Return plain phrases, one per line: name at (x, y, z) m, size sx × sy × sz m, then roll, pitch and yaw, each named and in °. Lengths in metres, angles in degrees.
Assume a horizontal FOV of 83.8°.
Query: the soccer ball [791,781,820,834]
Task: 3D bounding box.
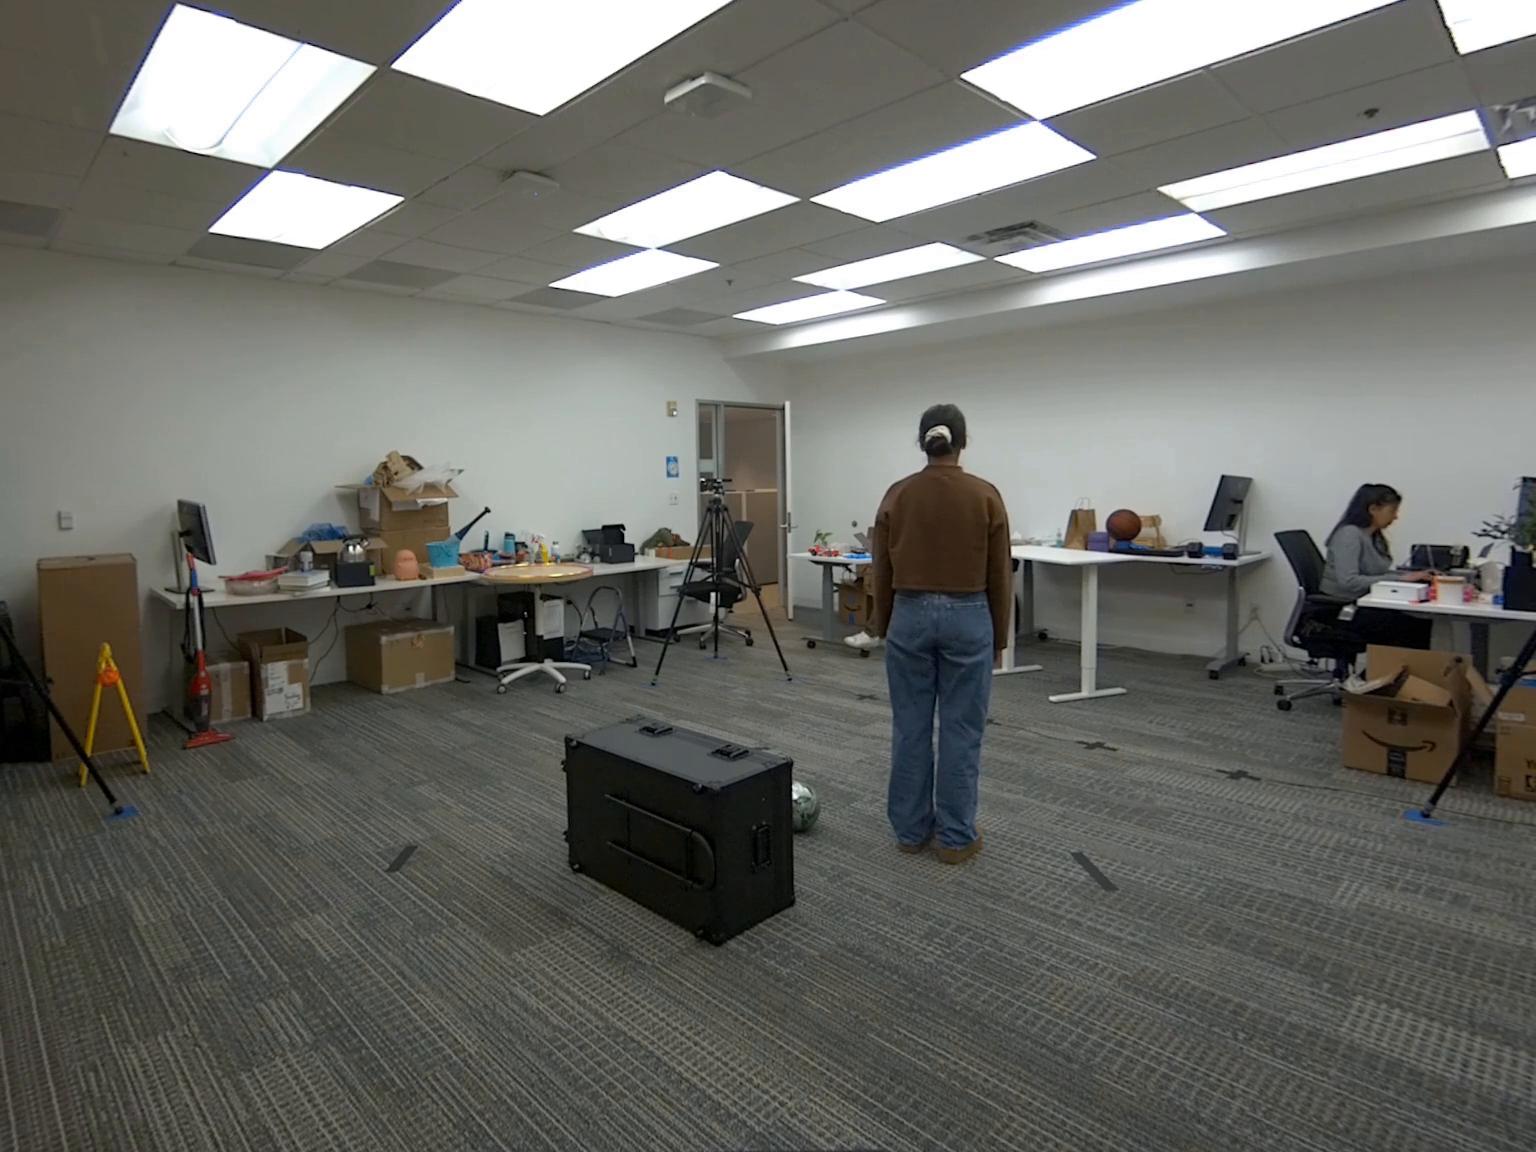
soccer ball at (0.123, 0.910, 3.413) m, size 0.187 × 0.187 × 0.188 m, roll -1°, pitch 5°, yaw -2°
